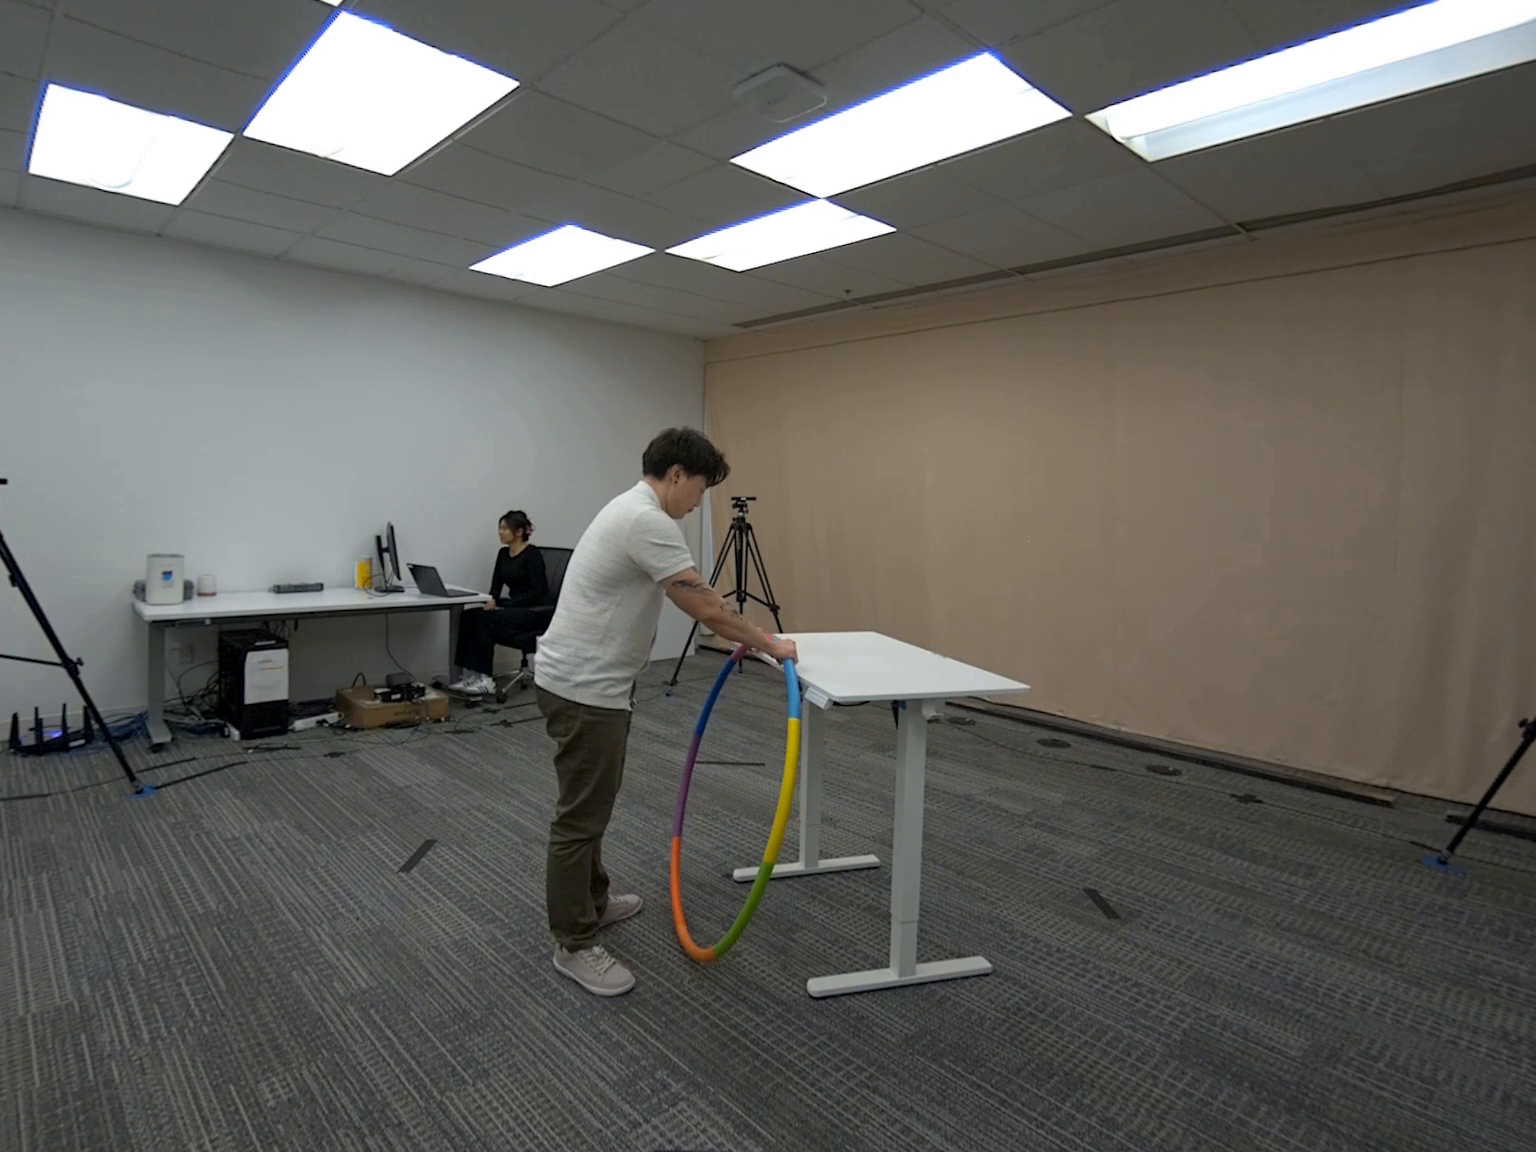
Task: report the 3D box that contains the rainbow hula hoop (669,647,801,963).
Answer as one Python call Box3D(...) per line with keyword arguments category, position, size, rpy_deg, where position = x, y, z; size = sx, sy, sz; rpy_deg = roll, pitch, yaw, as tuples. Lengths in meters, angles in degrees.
Box3D(category="rainbow hula hoop", position=(-0.138, 0.667, 2.632), size=(0.035, 0.979, 0.993), rpy_deg=(17, 0, -18))
